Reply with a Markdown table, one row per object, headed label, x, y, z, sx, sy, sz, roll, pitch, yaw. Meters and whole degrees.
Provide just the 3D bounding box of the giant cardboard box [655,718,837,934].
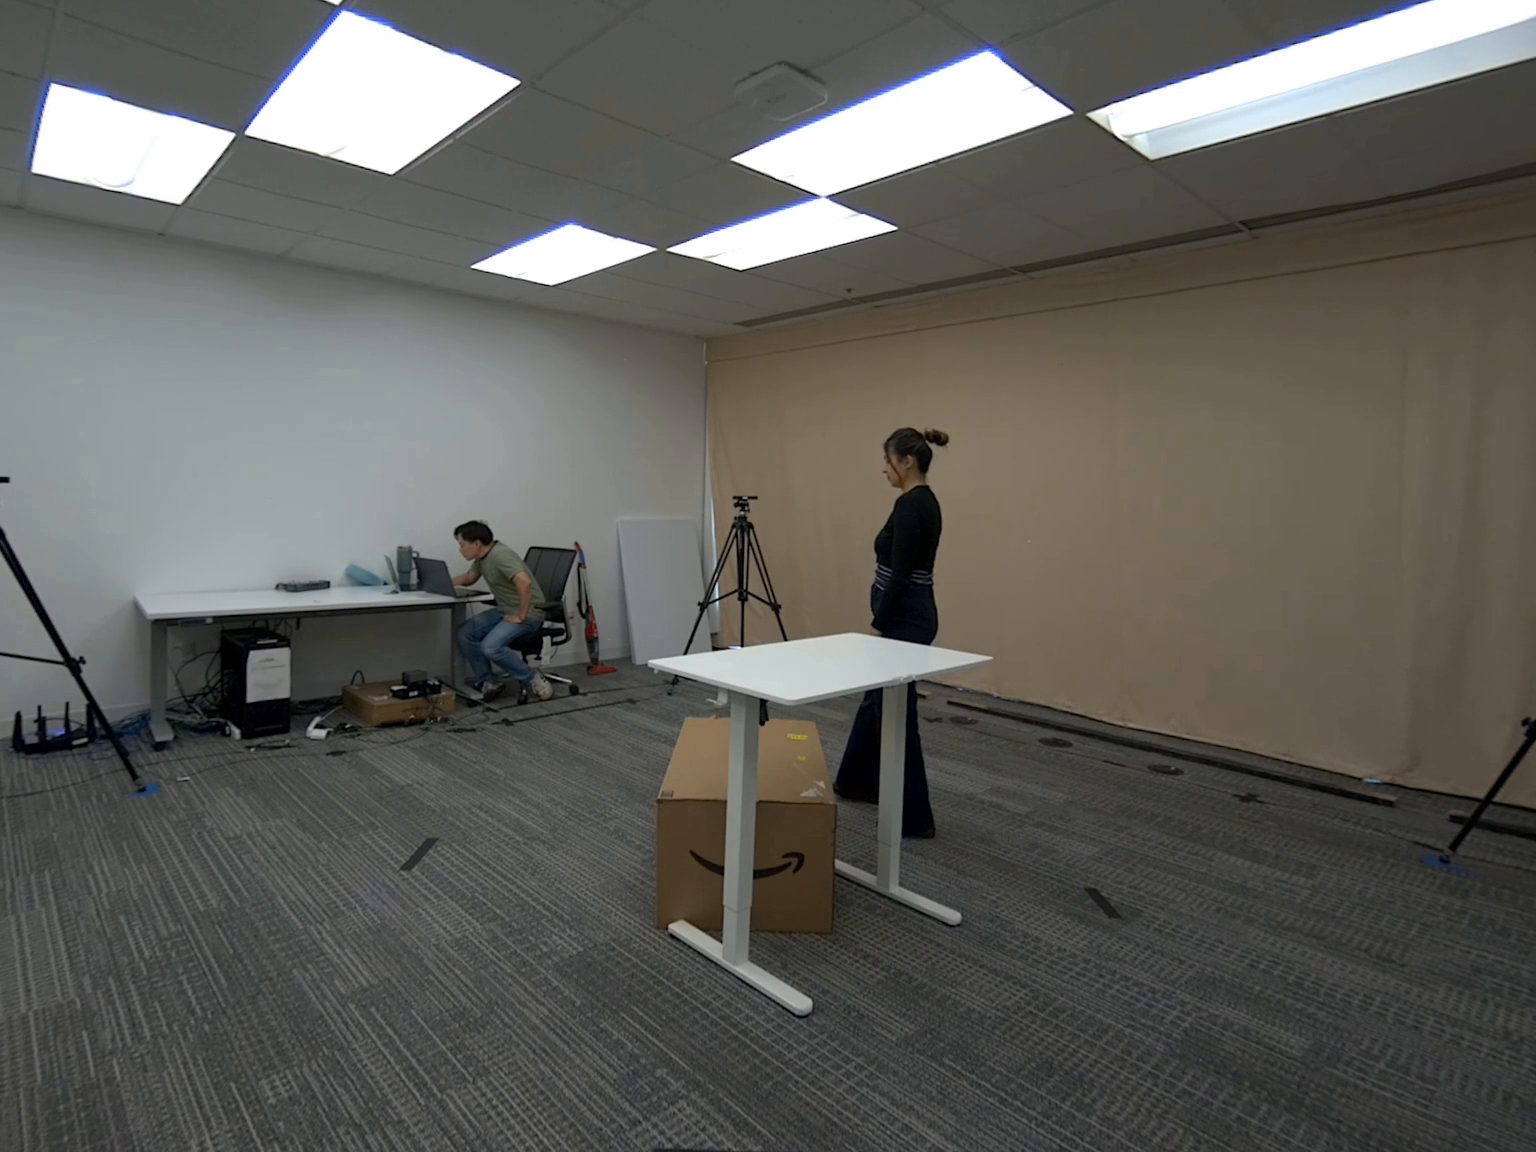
| label | x | y | z | sx | sy | sz | roll | pitch | yaw |
| --- | --- | --- | --- | --- | --- | --- | --- | --- | --- |
| giant cardboard box | -0.087 | 0.881 | 3.194 | 0.578 | 0.425 | 1.028 | 2 | 5 | -1 |
